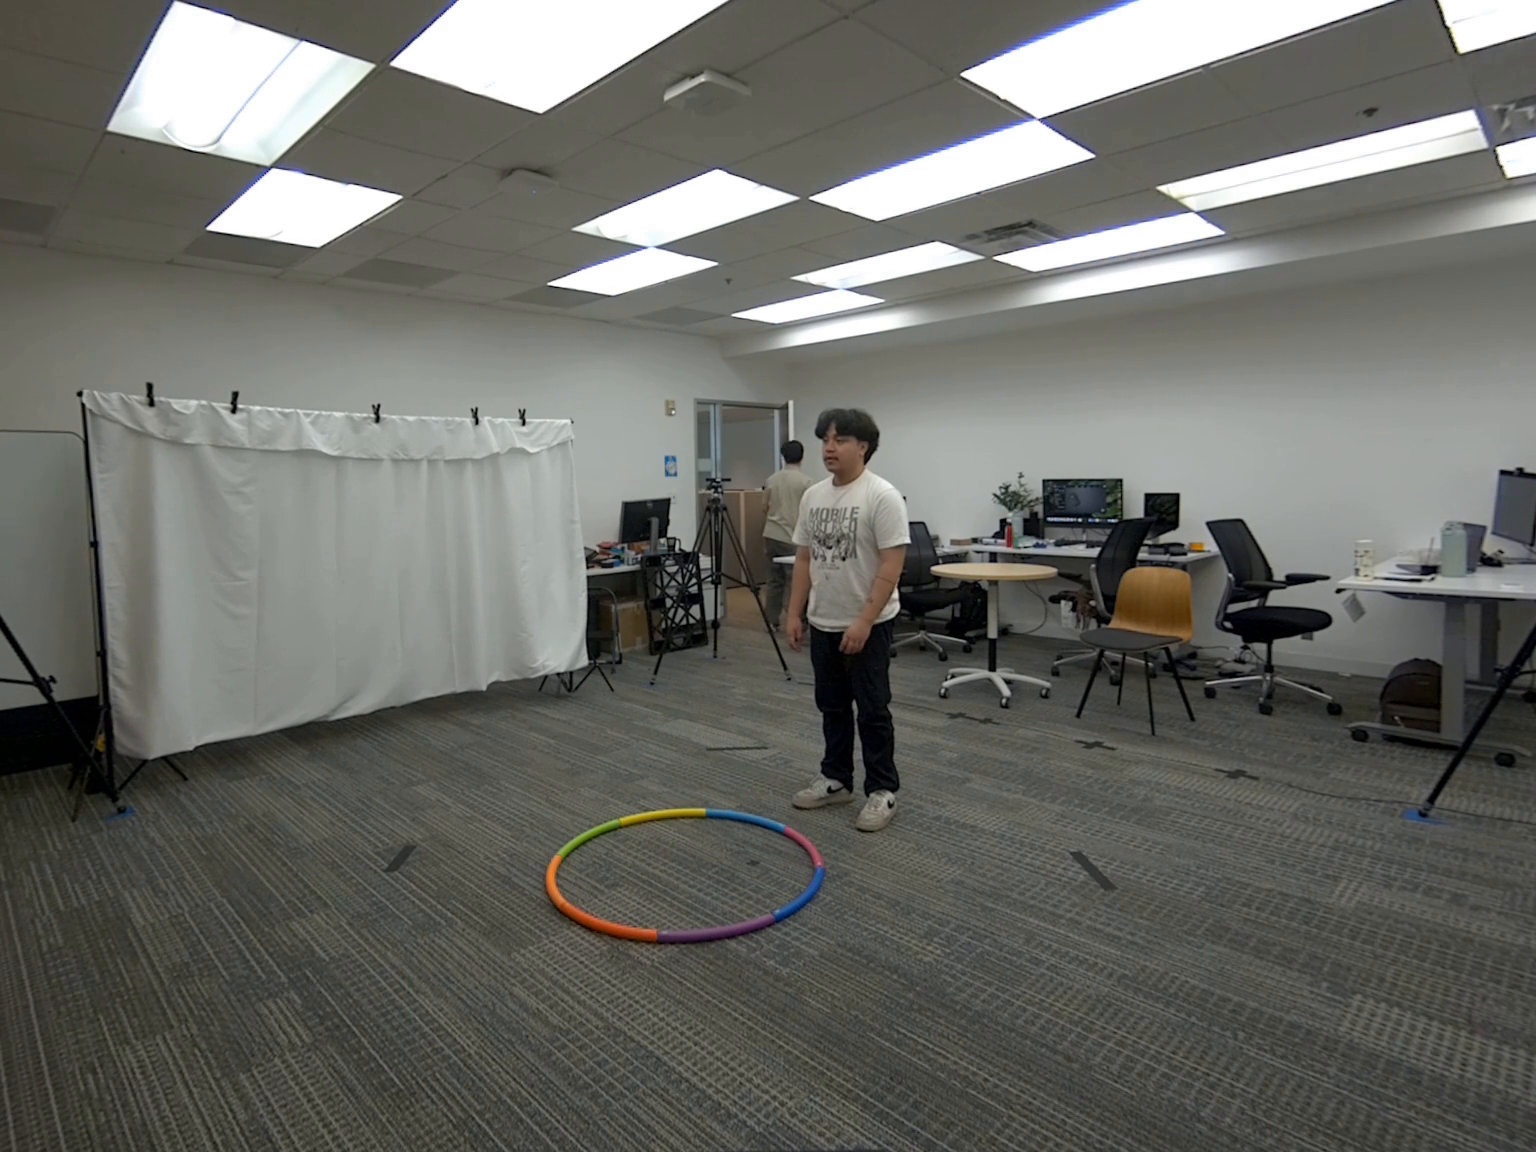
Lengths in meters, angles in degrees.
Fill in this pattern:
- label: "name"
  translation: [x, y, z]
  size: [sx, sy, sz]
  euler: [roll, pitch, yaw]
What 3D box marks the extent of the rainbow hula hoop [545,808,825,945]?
- label: "rainbow hula hoop"
  translation: [-0.295, 1.025, 3.060]
  size: [0.985, 0.051, 0.991]
  euler: [-1, 6, -2]
